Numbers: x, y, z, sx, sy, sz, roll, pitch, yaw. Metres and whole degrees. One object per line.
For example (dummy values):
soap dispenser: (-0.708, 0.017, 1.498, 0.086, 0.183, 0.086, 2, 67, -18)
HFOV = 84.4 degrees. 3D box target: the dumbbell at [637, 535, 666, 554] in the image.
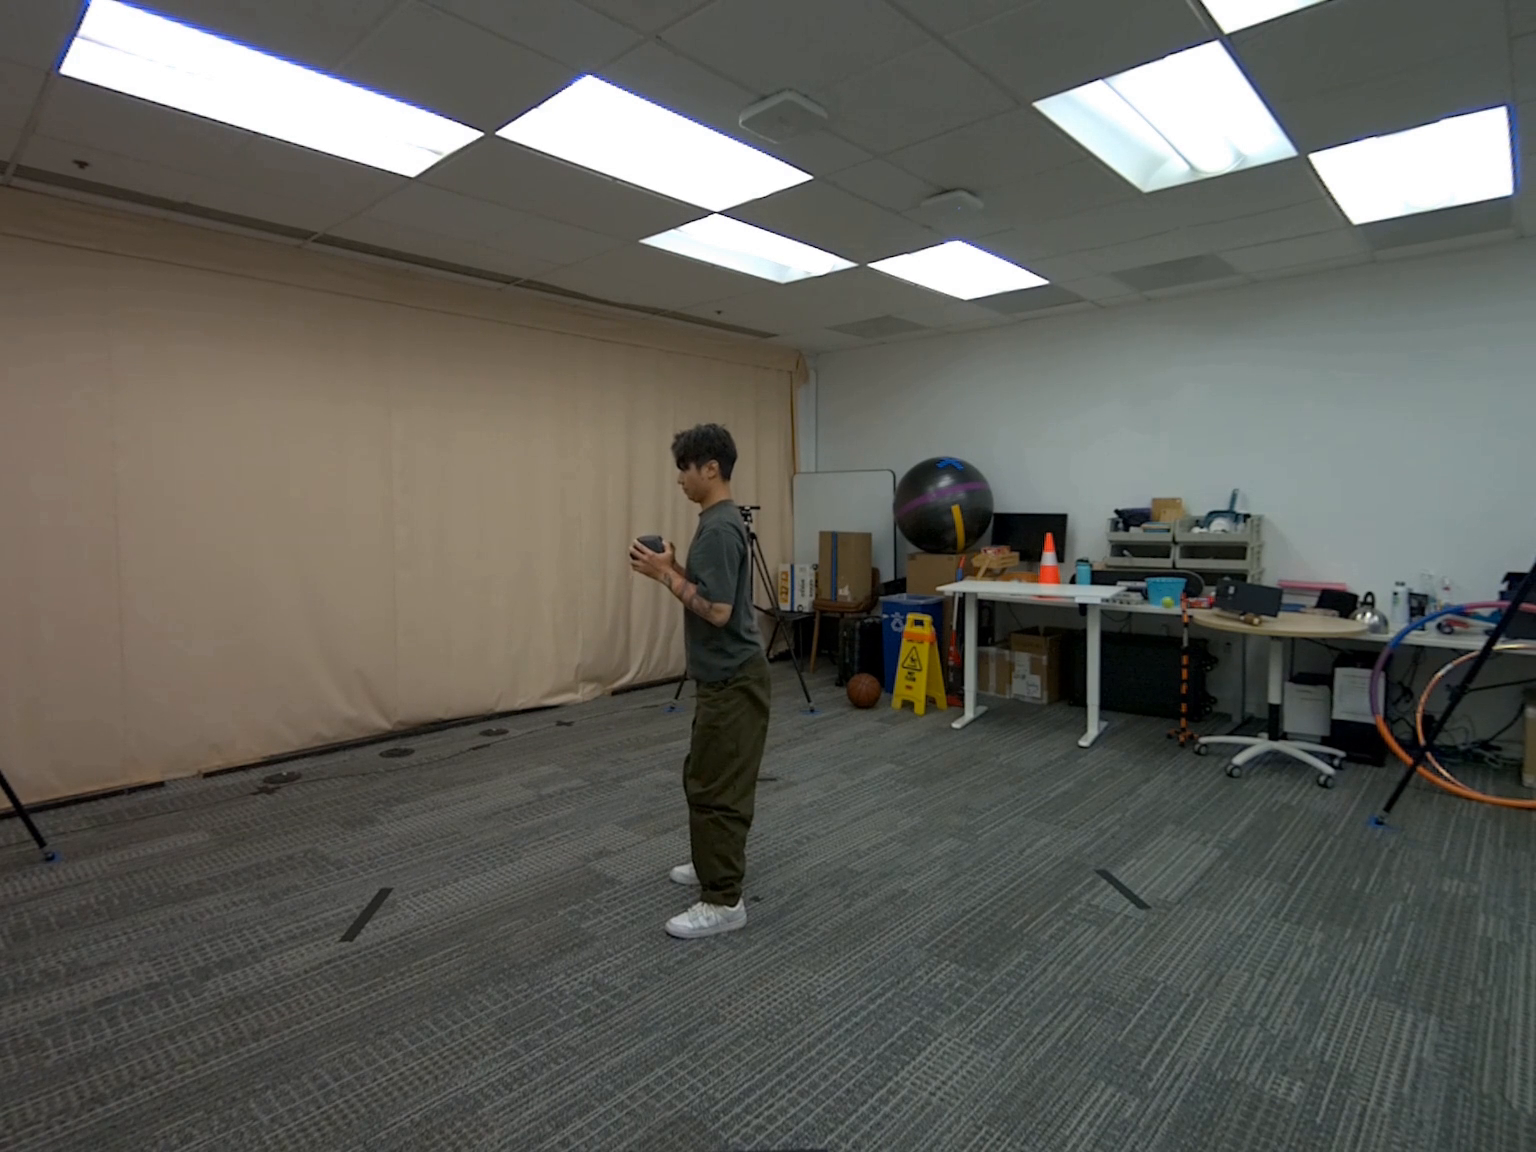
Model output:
dumbbell: (-0.379, -0.070, 2.911, 0.108, 0.123, 0.295, -34, 3, -4)
